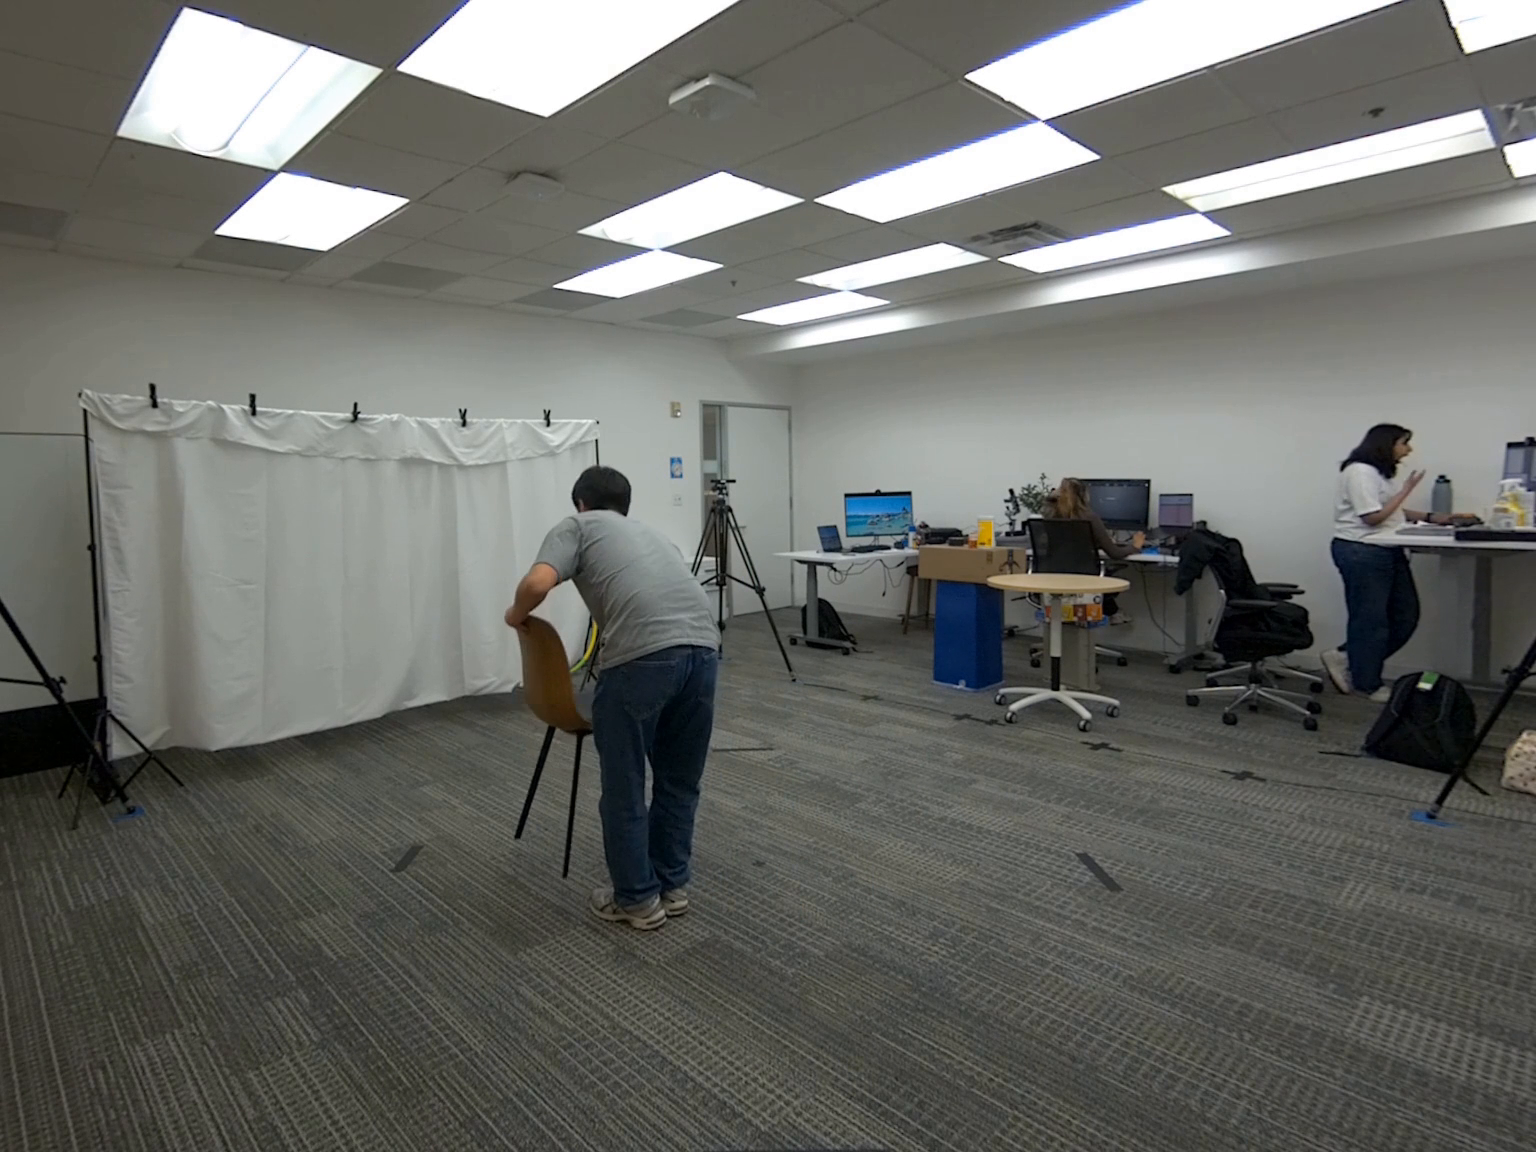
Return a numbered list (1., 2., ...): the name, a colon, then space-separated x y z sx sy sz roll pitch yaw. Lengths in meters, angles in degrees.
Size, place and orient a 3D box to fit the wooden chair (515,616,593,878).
1. wooden chair: -0.609 0.502 3.025 0.510 0.874 0.491 -7 4 -36
